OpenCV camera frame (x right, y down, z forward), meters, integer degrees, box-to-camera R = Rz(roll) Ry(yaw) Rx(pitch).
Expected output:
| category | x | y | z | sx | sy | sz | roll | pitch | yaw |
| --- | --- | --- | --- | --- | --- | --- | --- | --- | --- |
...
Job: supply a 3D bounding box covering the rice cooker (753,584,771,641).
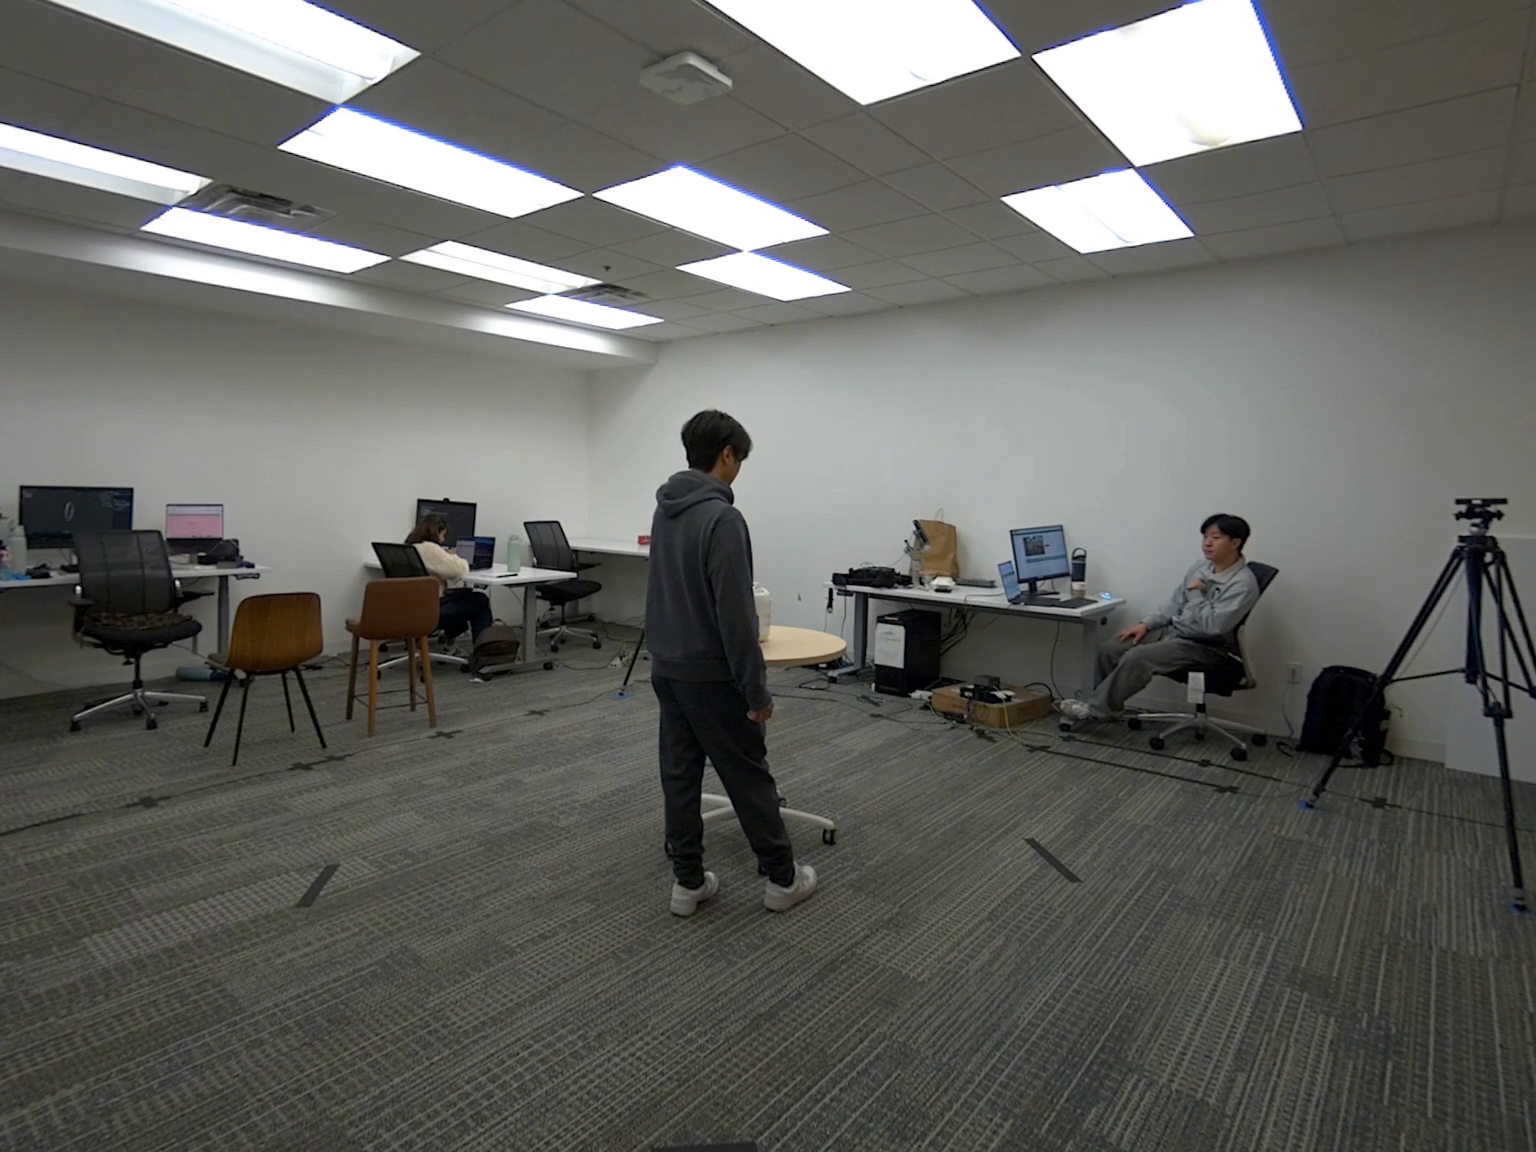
| category | x | y | z | sx | sy | sz | roll | pitch | yaw |
| --- | --- | --- | --- | --- | --- | --- | --- | --- | --- |
| rice cooker | -0.102 | 0.133 | 3.354 | 0.214 | 0.232 | 0.225 | -1 | 6 | -34 |
